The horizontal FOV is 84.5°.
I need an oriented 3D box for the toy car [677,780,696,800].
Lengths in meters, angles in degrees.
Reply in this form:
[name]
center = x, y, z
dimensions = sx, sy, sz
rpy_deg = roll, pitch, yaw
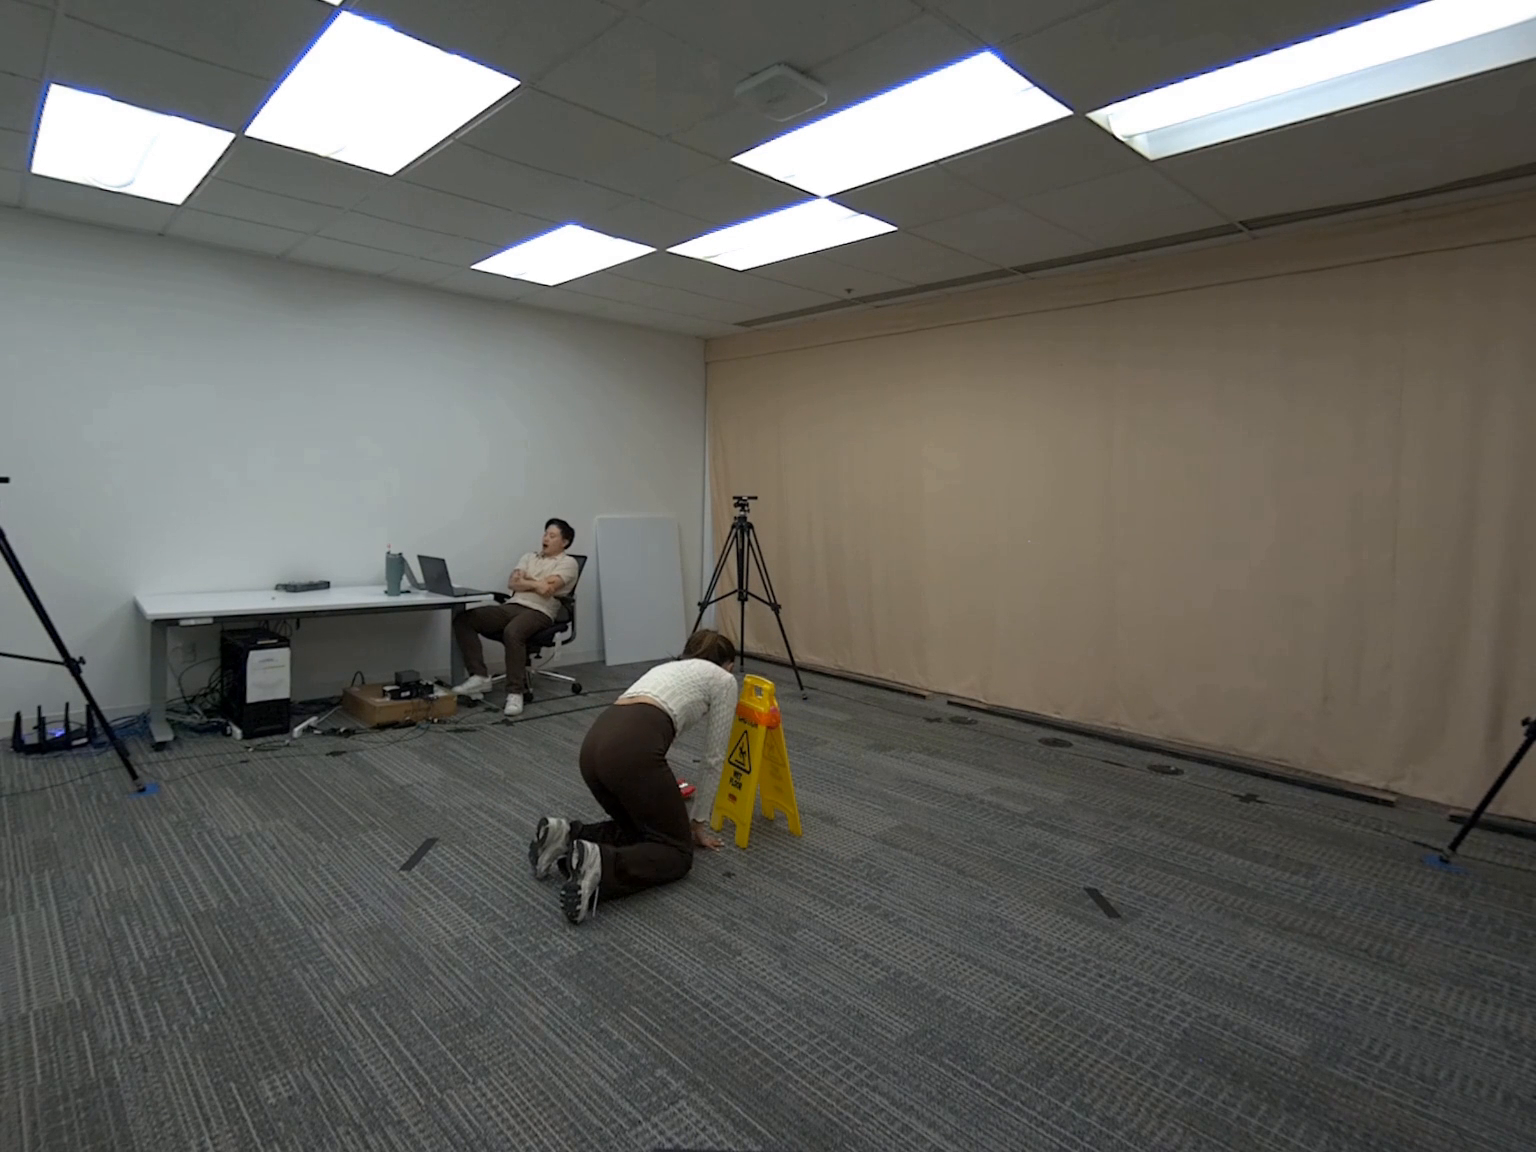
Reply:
[toy car]
center = -0.443, 0.995, 3.902
dimensions = 0.259, 0.083, 0.127
rpy_deg = -9, -2, 33
